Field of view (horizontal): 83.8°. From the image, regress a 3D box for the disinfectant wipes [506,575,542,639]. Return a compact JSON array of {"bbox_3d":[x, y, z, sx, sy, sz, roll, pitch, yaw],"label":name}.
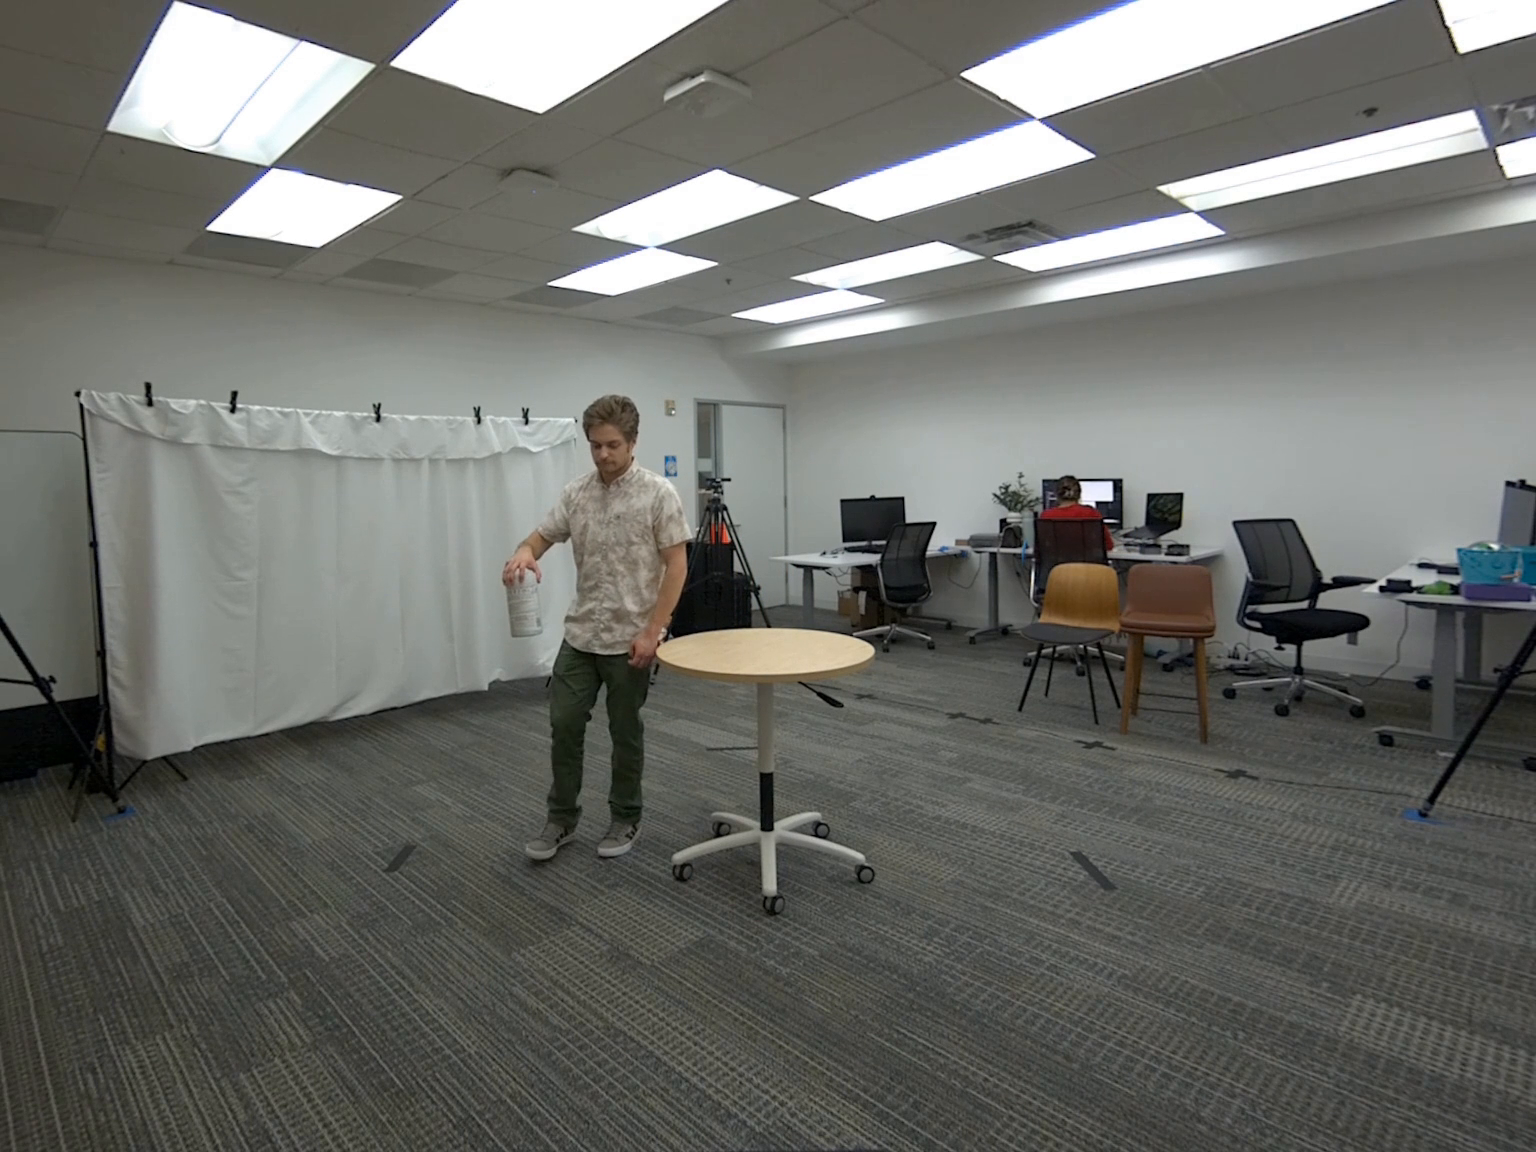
[{"bbox_3d":[-0.851,0.105,2.979,0.118,0.217,0.118,-6,2,-1],"label":"disinfectant wipes"}]
